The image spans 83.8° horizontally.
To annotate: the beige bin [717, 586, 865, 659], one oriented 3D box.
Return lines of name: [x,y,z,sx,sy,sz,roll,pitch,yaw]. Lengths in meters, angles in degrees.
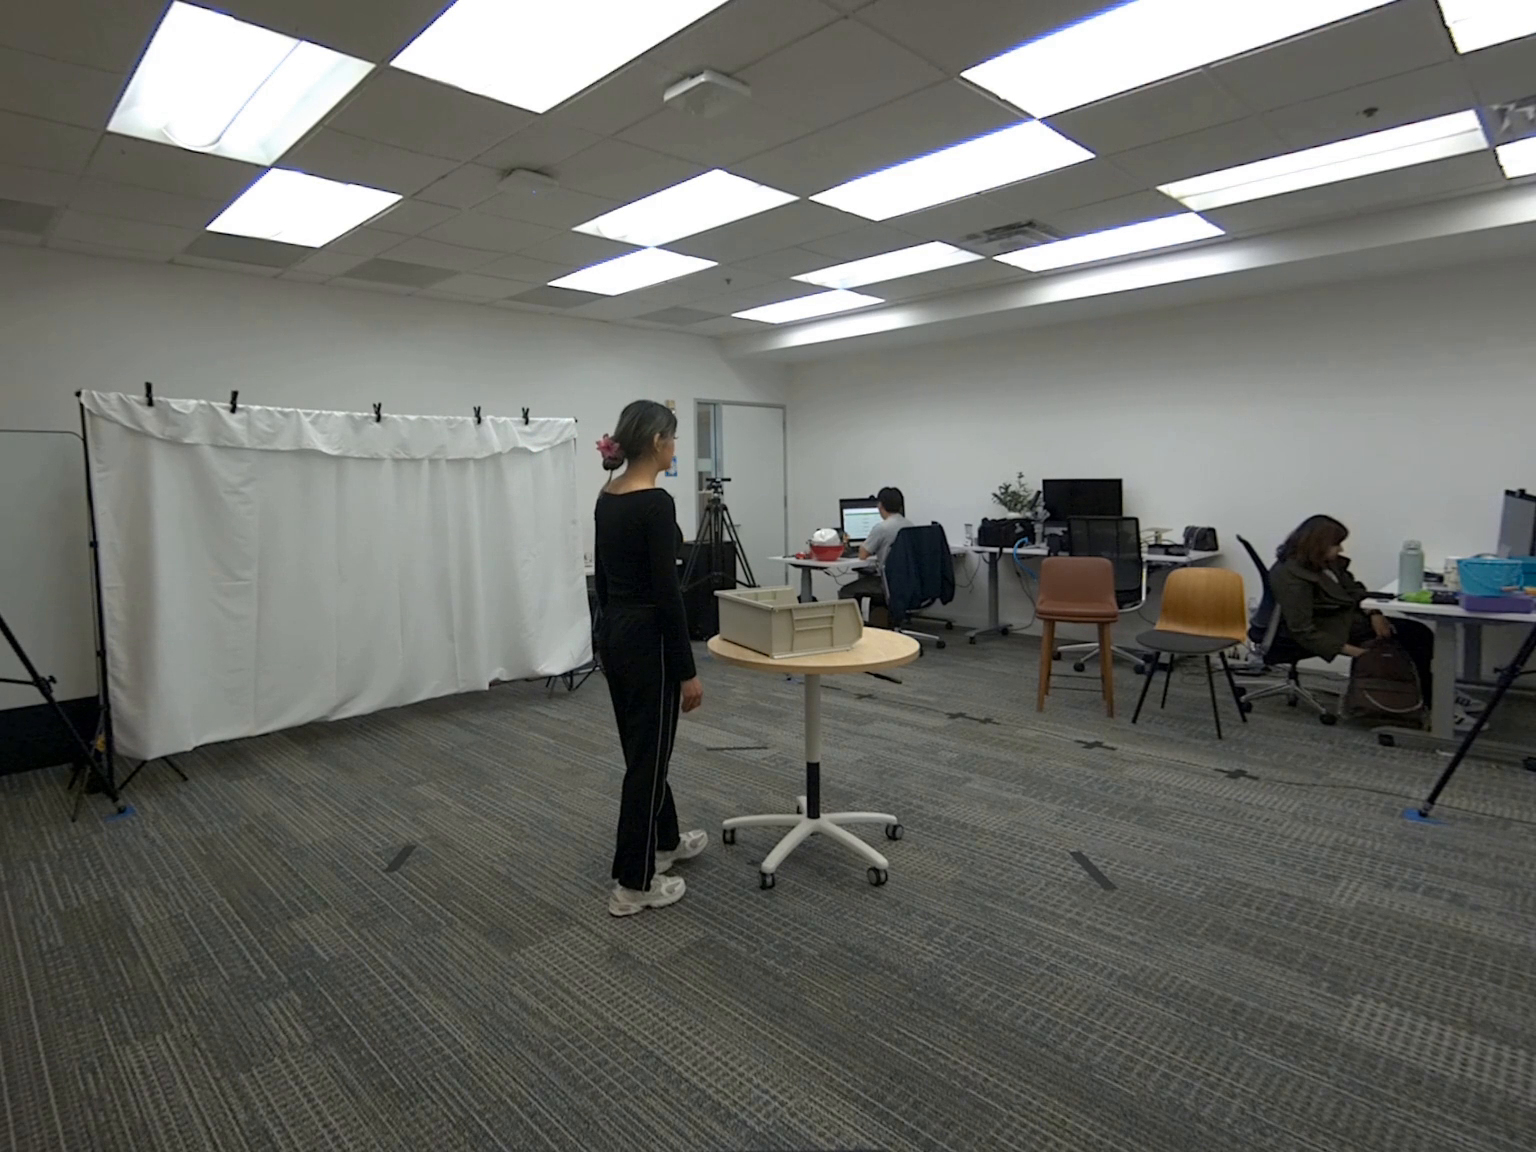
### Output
beige bin: [0.068,0.156,3.096,0.369,0.188,0.434,-5,8,-28]
